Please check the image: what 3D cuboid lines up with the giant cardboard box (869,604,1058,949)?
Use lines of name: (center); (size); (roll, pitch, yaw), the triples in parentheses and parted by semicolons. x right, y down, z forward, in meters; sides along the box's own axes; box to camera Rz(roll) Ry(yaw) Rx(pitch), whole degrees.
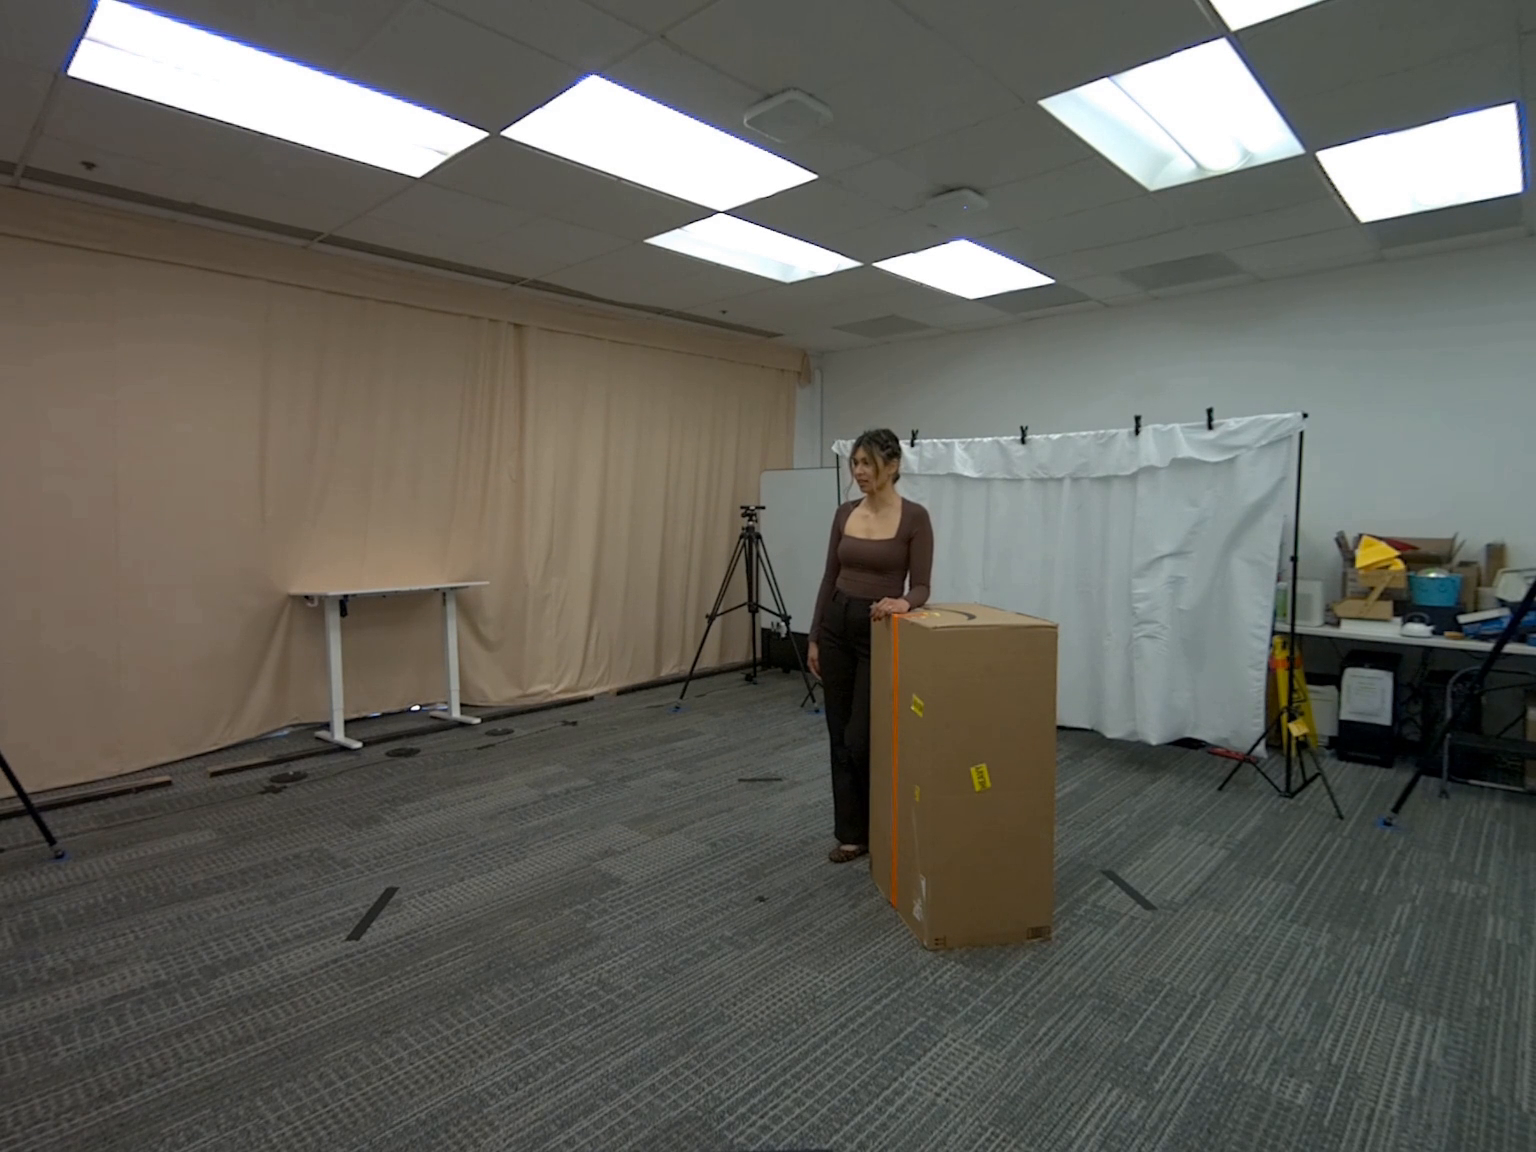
giant cardboard box: (0.653, 0.641, 2.910); (0.442, 1.025, 0.592); (0, 4, -12)
